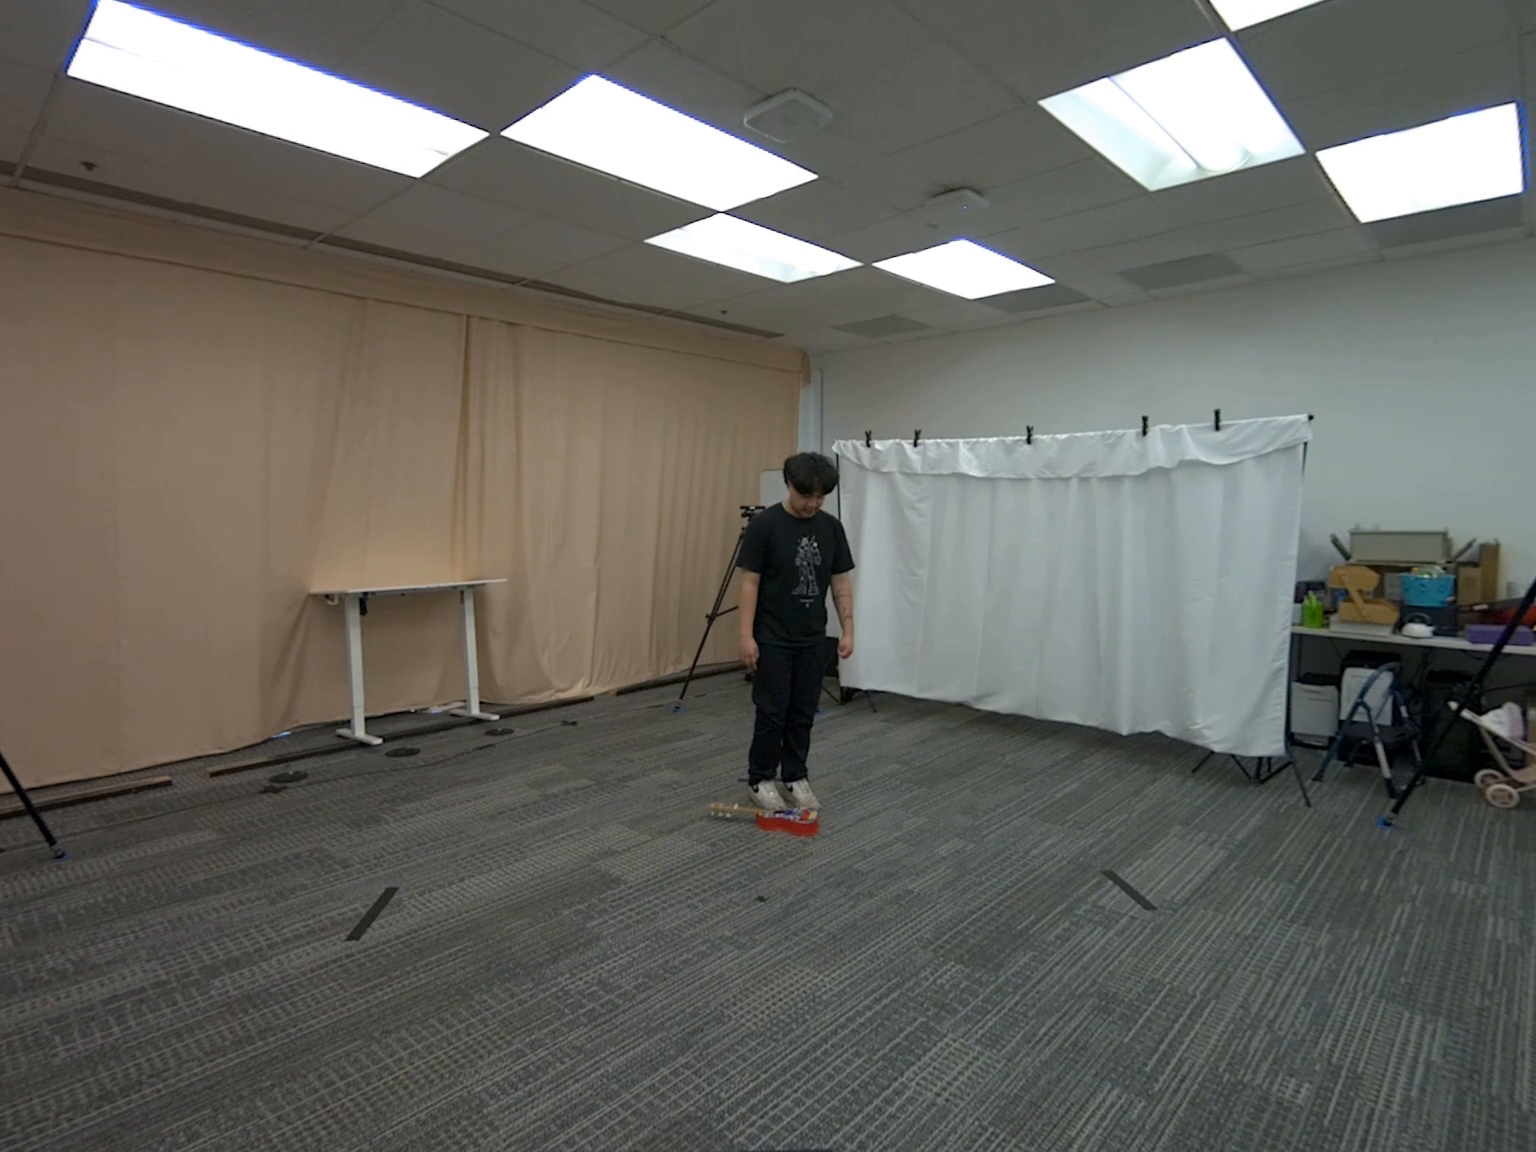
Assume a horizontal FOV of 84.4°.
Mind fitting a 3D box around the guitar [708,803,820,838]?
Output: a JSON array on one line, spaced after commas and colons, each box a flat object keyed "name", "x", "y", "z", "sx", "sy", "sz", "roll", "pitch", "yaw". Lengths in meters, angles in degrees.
[{"name": "guitar", "x": -0.015, "y": 1.047, "z": 3.714, "sx": 0.510, "sy": 0.070, "sz": 0.189, "roll": 2, "pitch": 6, "yaw": 23}]
